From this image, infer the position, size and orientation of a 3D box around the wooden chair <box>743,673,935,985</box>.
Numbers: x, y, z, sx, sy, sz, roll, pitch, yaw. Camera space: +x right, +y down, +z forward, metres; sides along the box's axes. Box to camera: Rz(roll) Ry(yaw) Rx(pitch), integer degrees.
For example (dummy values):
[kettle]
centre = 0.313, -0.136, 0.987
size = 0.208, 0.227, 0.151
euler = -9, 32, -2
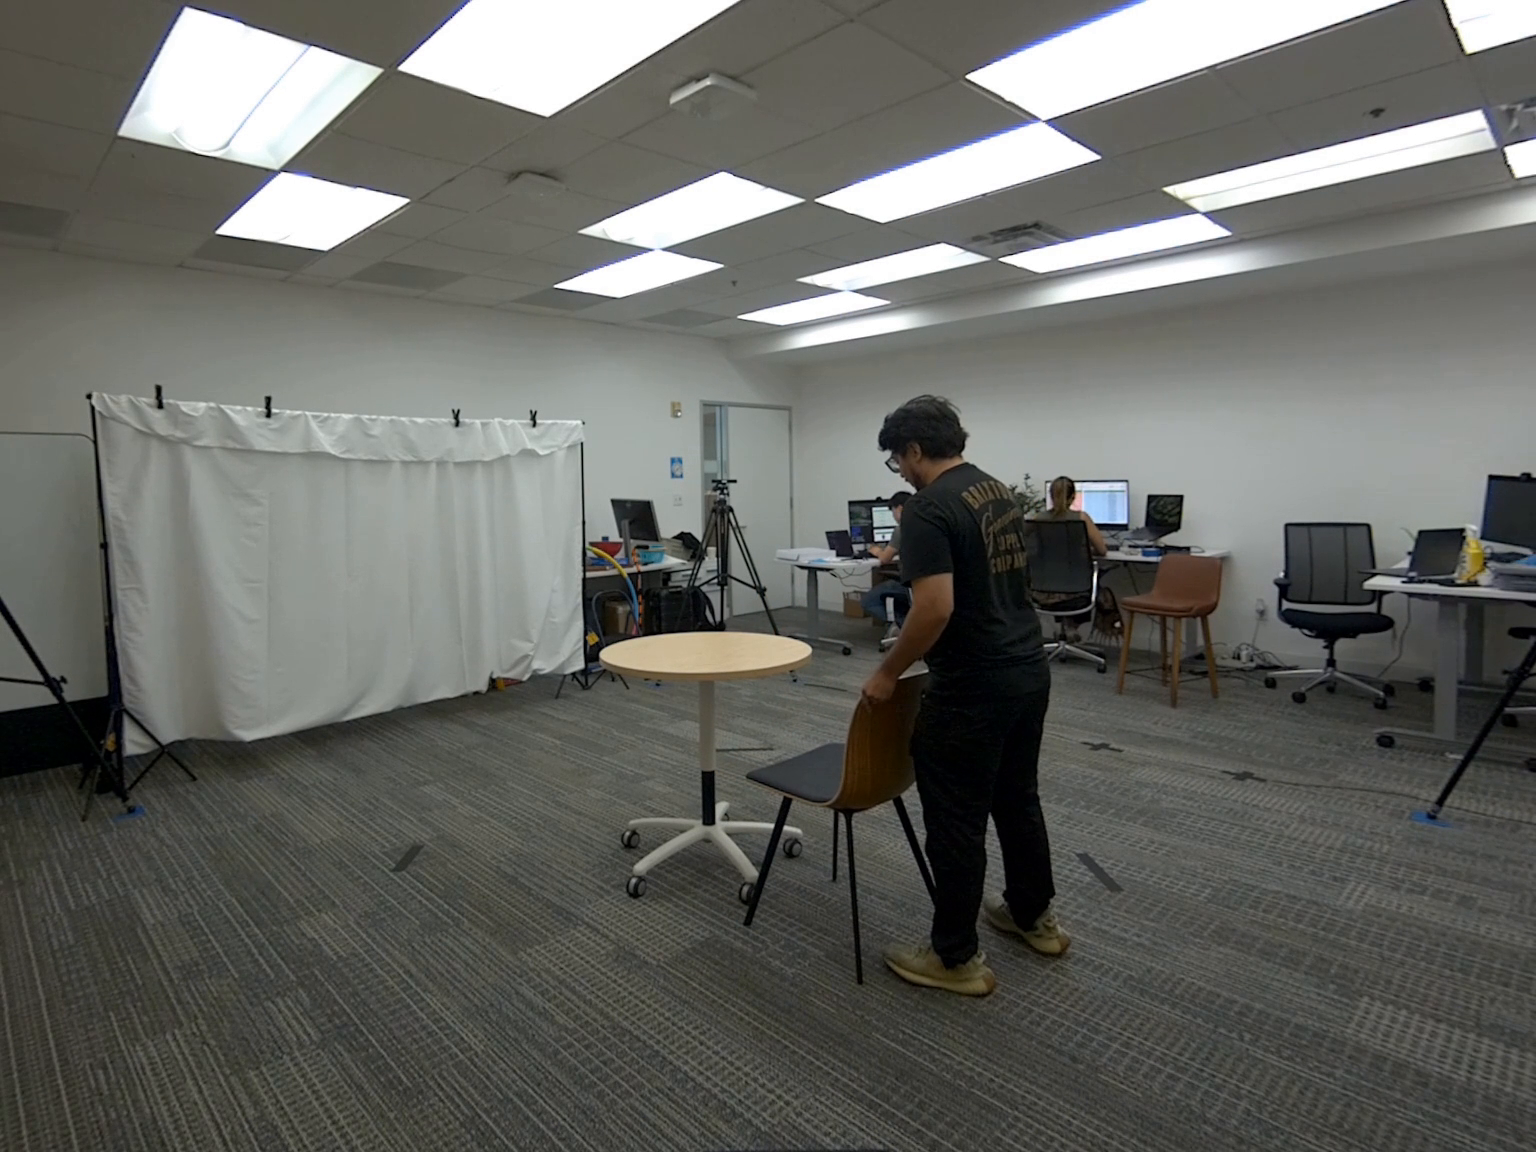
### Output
[wooden chair]
centre = 0.232, 0.669, 2.641
size = 0.541, 0.871, 0.465
euler = 10, 11, 43
